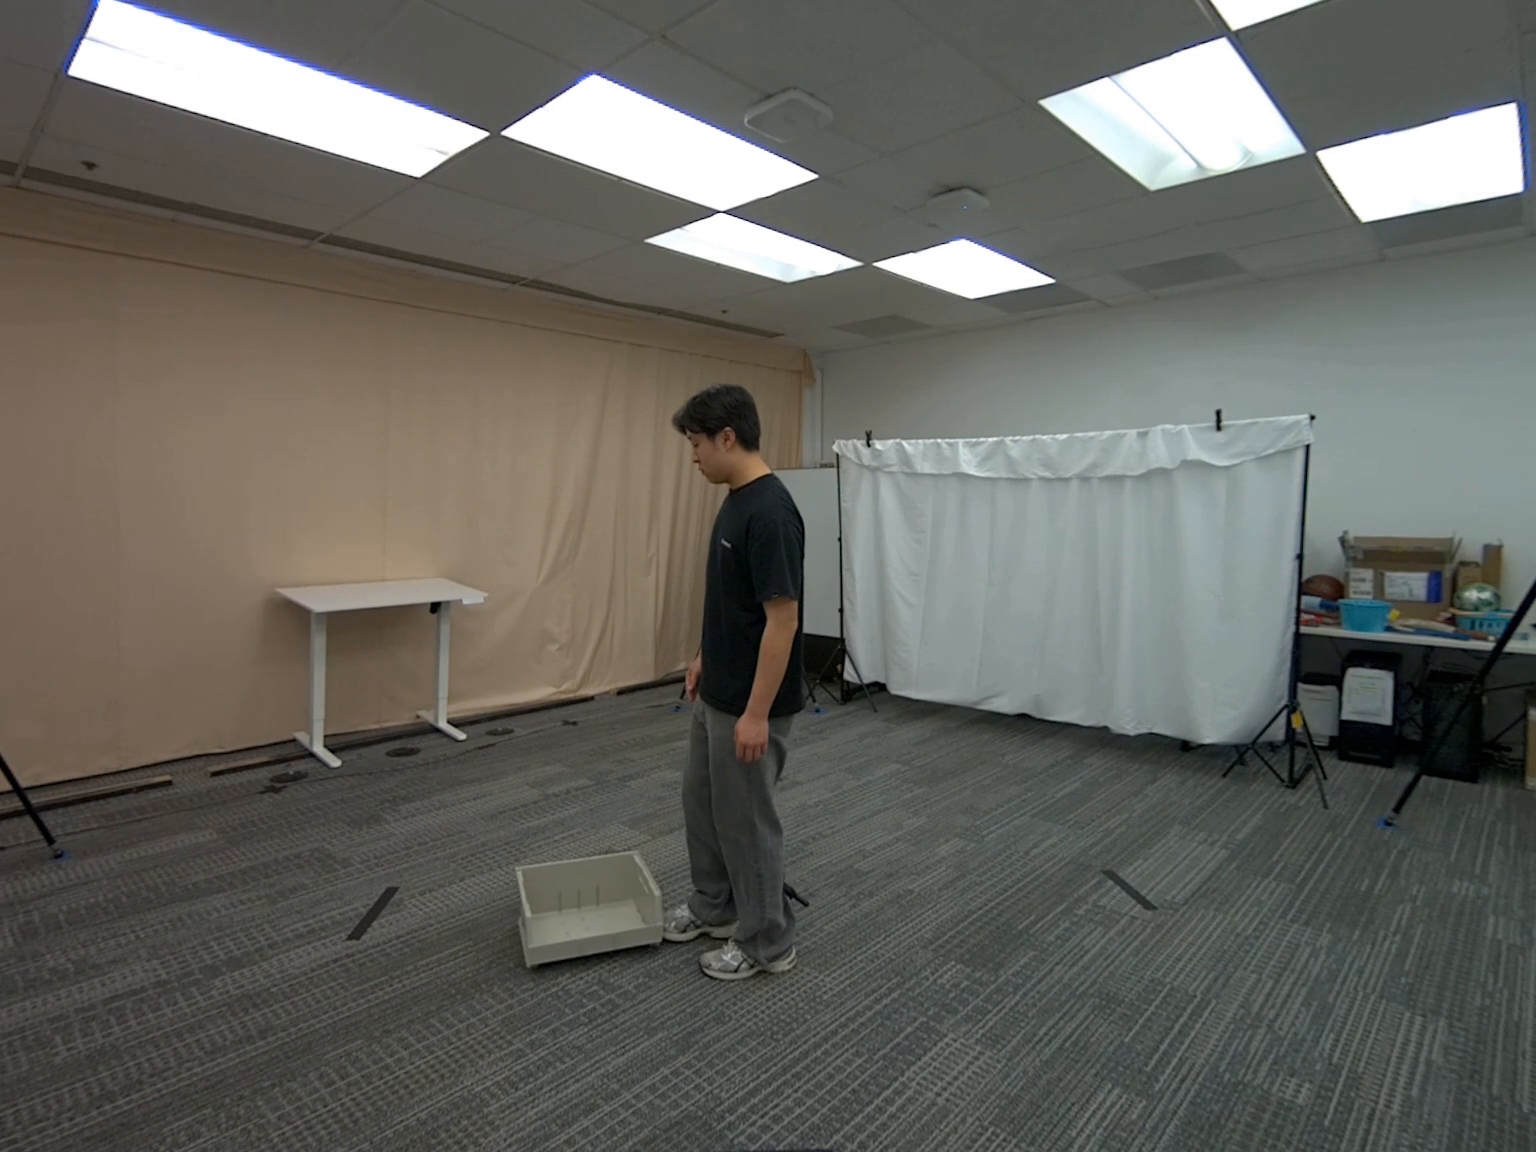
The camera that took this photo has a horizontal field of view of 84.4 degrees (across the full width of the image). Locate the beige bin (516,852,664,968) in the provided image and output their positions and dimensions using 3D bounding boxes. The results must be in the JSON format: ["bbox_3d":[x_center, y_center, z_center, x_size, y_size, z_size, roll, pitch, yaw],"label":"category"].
[{"bbox_3d":[-0.586,1.084,2.726,0.414,0.188,0.385,-3,4,-19],"label":"beige bin"}]
